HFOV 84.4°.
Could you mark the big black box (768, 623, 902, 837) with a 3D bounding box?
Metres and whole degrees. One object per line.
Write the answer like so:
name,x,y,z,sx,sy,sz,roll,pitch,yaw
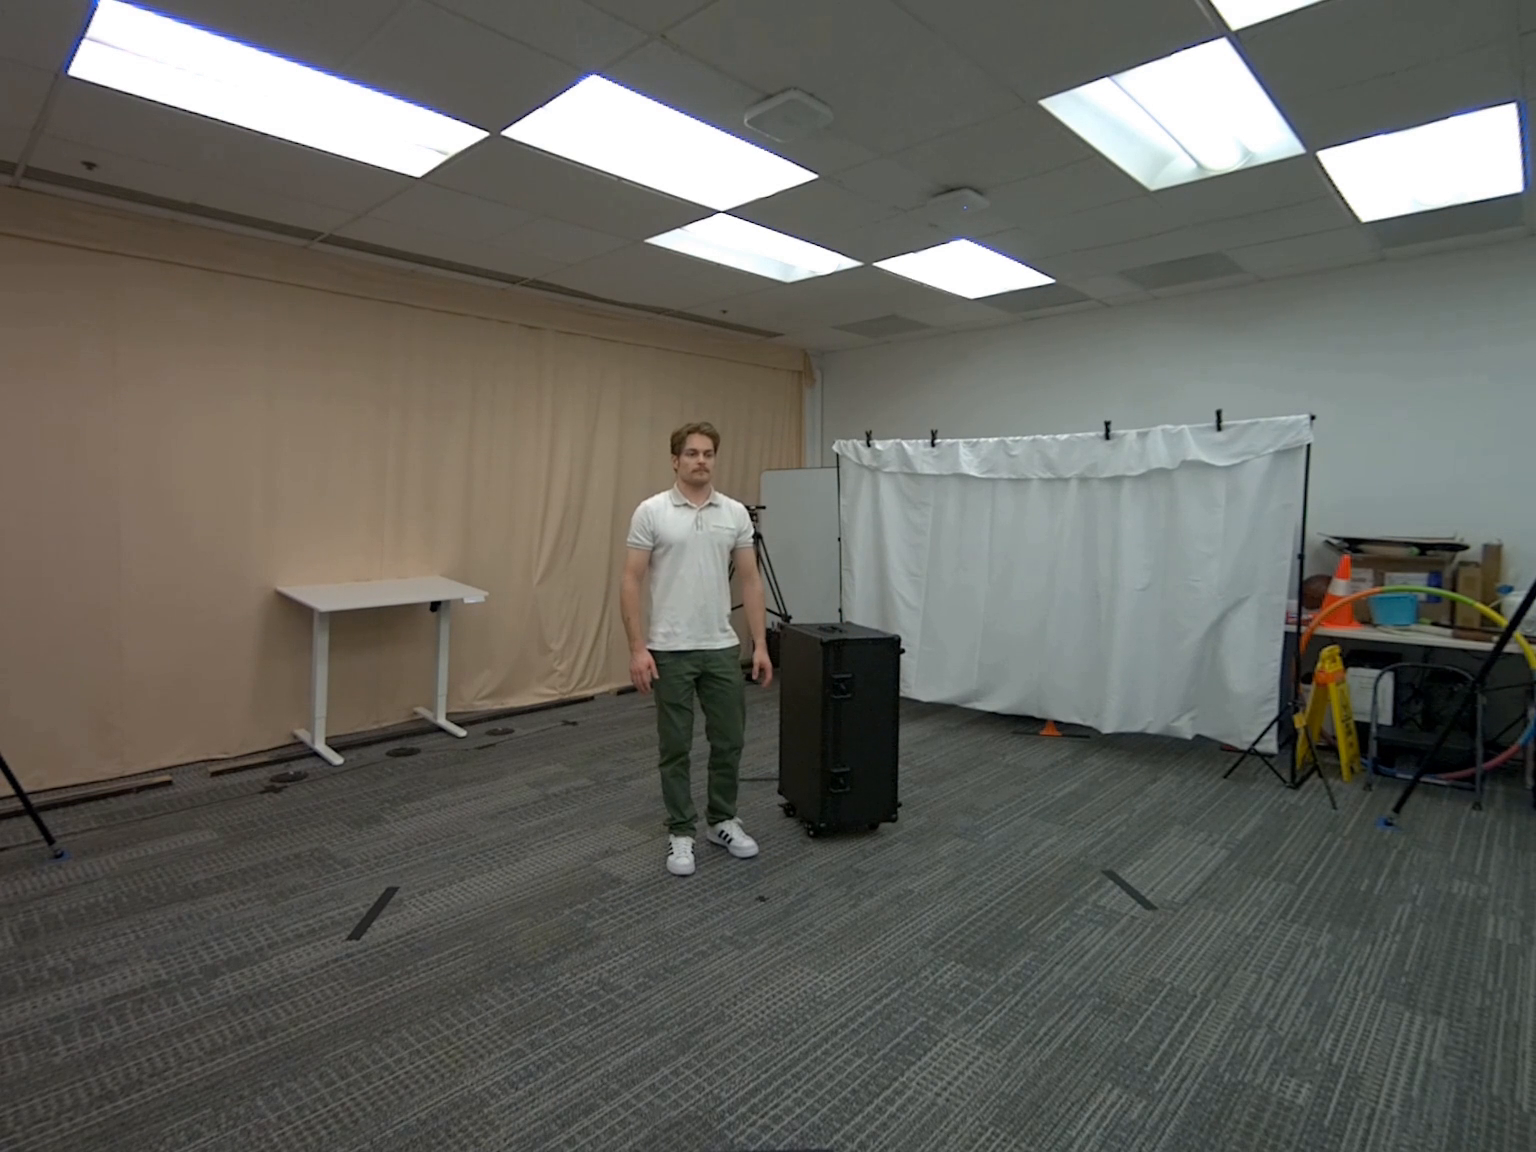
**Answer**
big black box,0.311,0.665,3.705,0.377,0.867,0.535,0,3,-21
